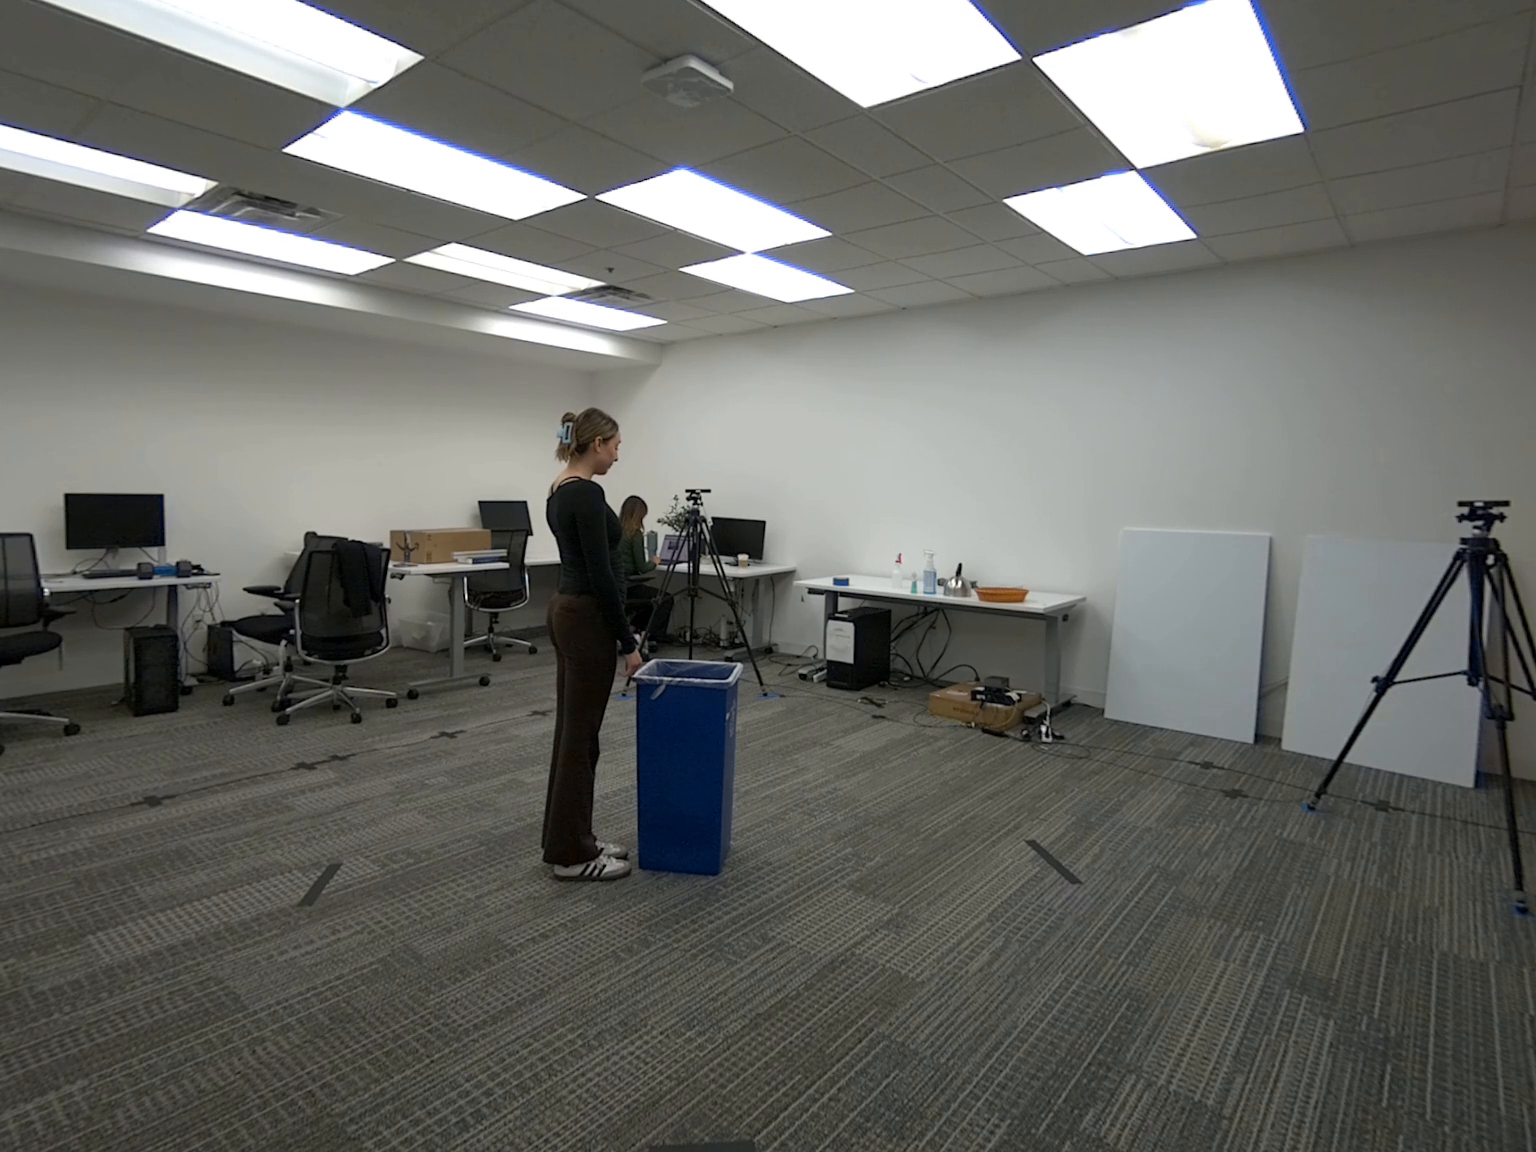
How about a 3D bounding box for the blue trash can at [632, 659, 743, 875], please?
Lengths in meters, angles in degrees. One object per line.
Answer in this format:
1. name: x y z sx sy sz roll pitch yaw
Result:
1. blue trash can: -0.318 0.705 3.221 0.382 0.711 0.372 2 3 7
